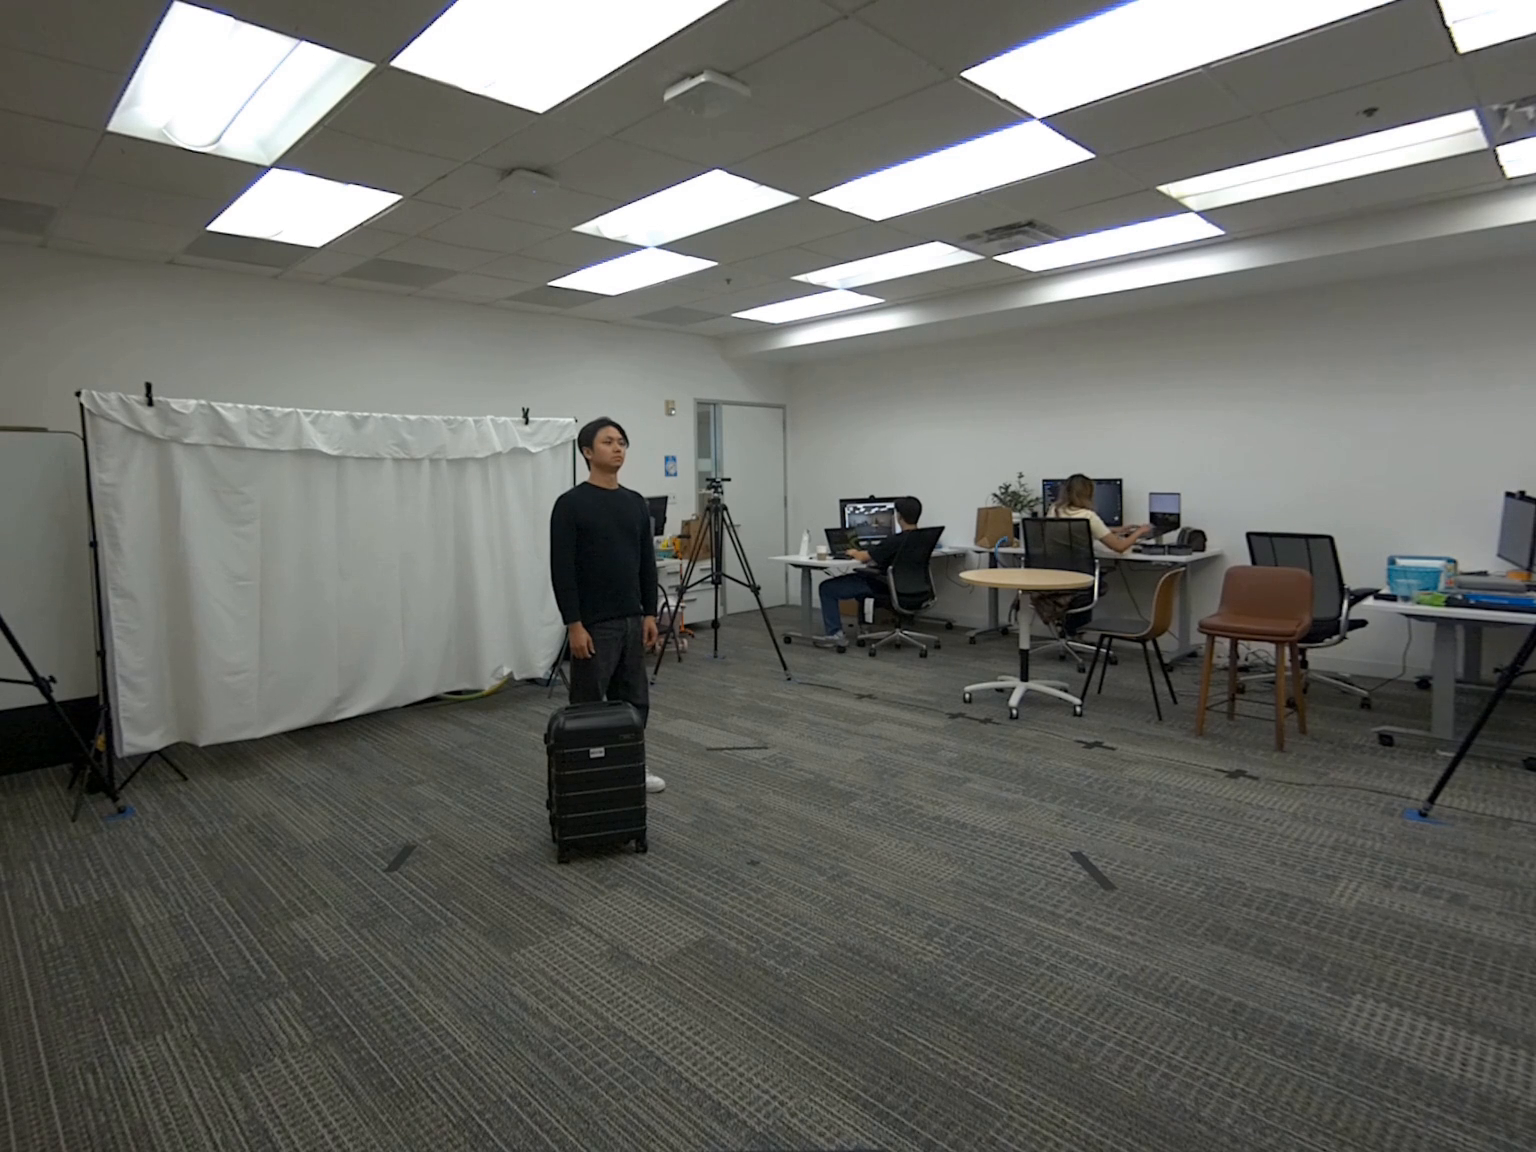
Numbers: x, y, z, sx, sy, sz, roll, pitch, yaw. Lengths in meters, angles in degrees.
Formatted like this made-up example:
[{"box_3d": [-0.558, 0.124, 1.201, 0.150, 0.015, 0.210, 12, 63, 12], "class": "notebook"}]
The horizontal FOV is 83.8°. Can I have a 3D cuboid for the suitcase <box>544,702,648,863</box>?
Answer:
[{"box_3d": [-0.644, 0.760, 3.244, 0.370, 0.546, 0.253, -3, 6, -17], "class": "suitcase"}]
